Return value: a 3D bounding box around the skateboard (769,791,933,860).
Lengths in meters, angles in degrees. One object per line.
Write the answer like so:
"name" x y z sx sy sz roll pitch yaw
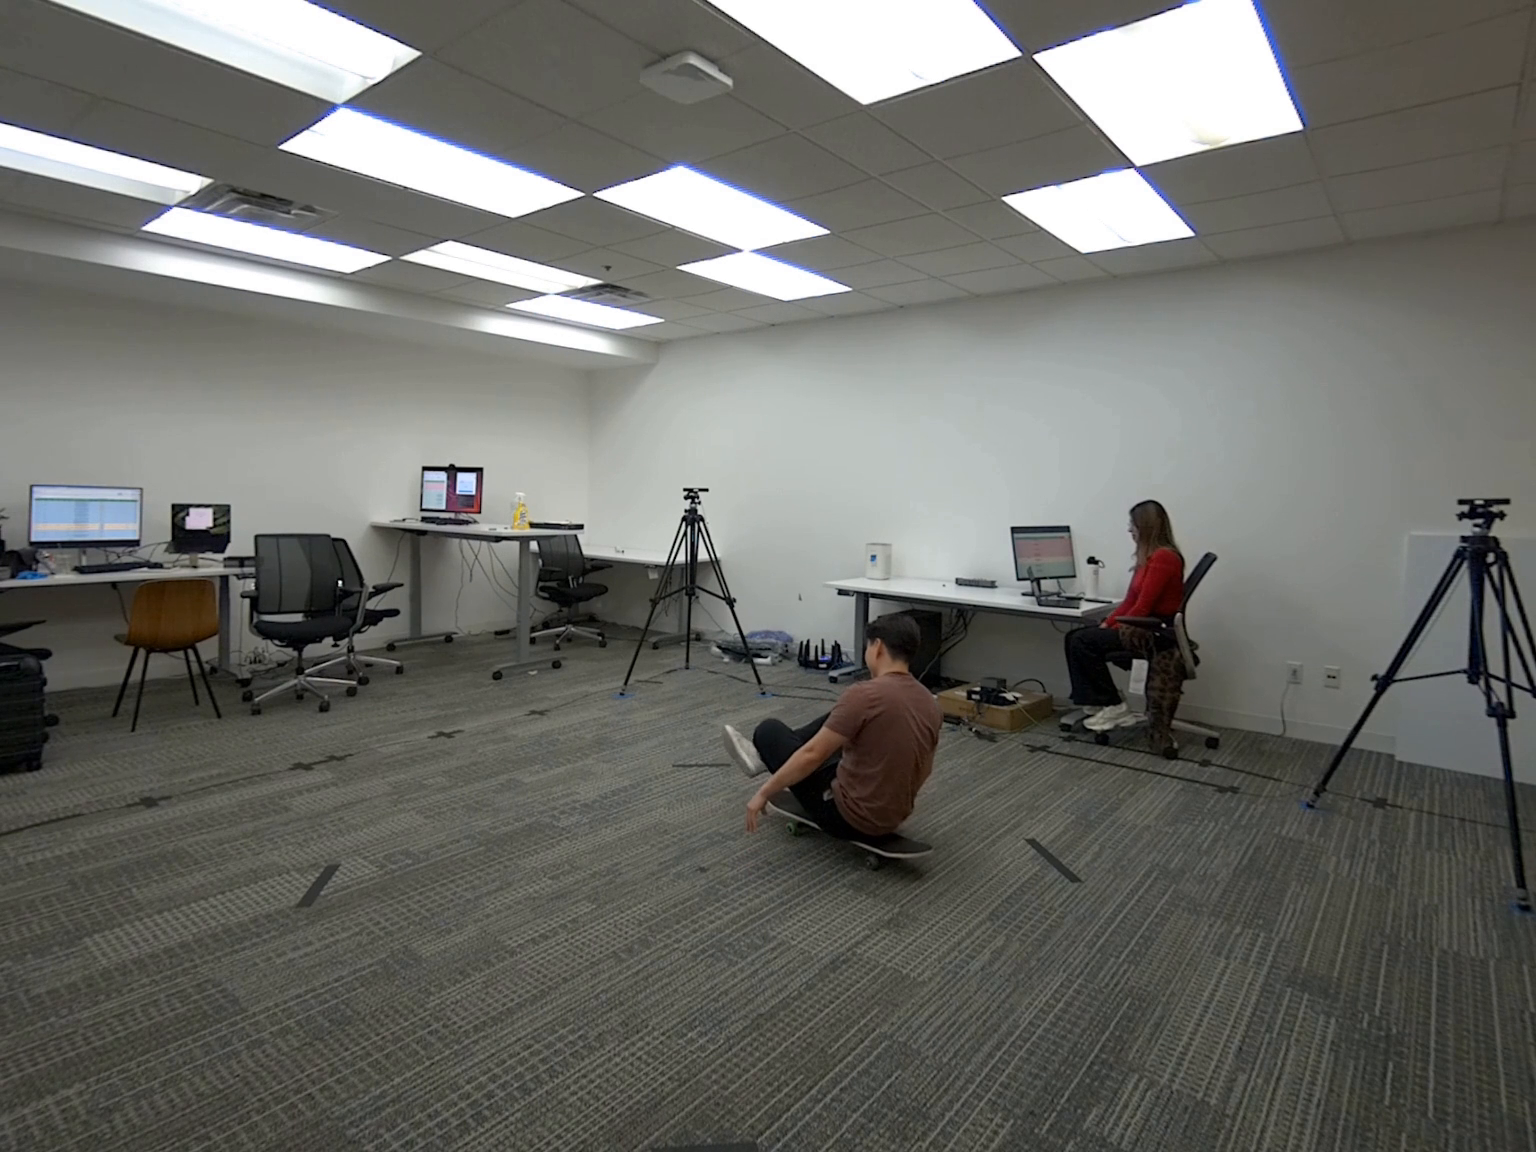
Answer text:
"skateboard" 0.290 1.004 3.362 0.187 0.110 0.813 -3 7 -42
